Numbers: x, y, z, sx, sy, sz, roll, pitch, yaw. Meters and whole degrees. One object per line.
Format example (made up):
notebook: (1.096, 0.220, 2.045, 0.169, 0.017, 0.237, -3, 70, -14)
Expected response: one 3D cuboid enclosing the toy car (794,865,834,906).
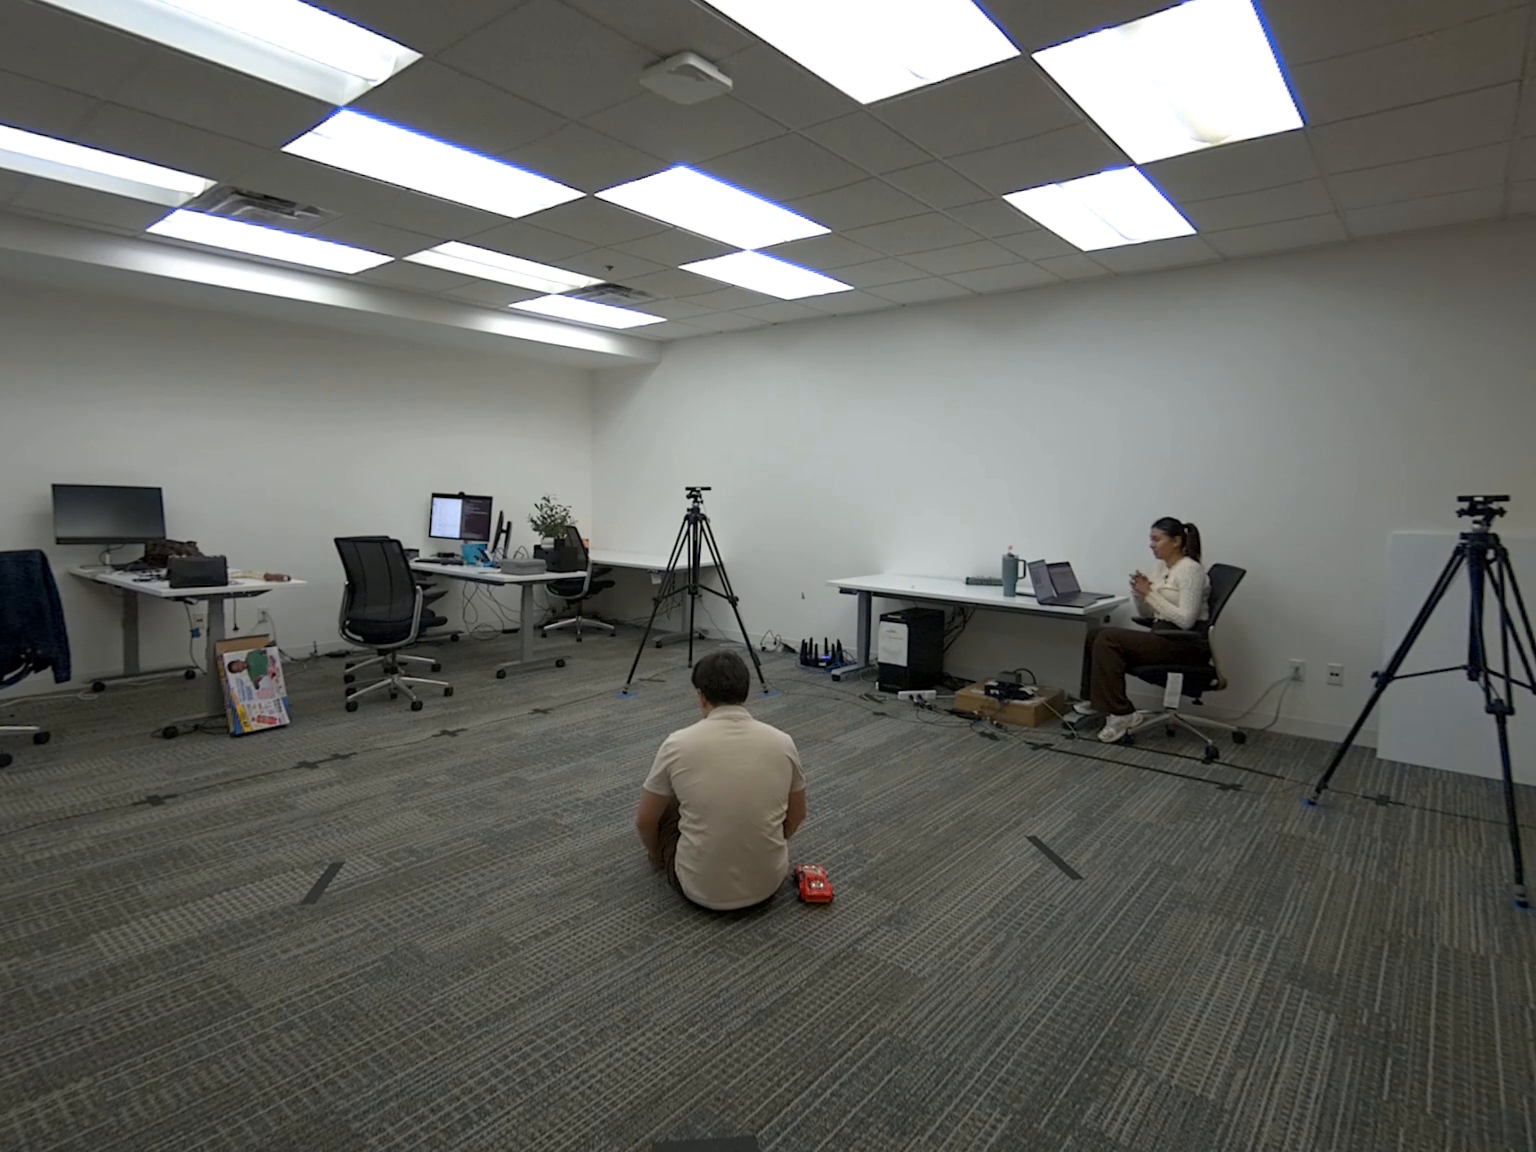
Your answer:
toy car: (0.151, 1.065, 2.923, 0.130, 0.084, 0.254, 1, -5, -5)
